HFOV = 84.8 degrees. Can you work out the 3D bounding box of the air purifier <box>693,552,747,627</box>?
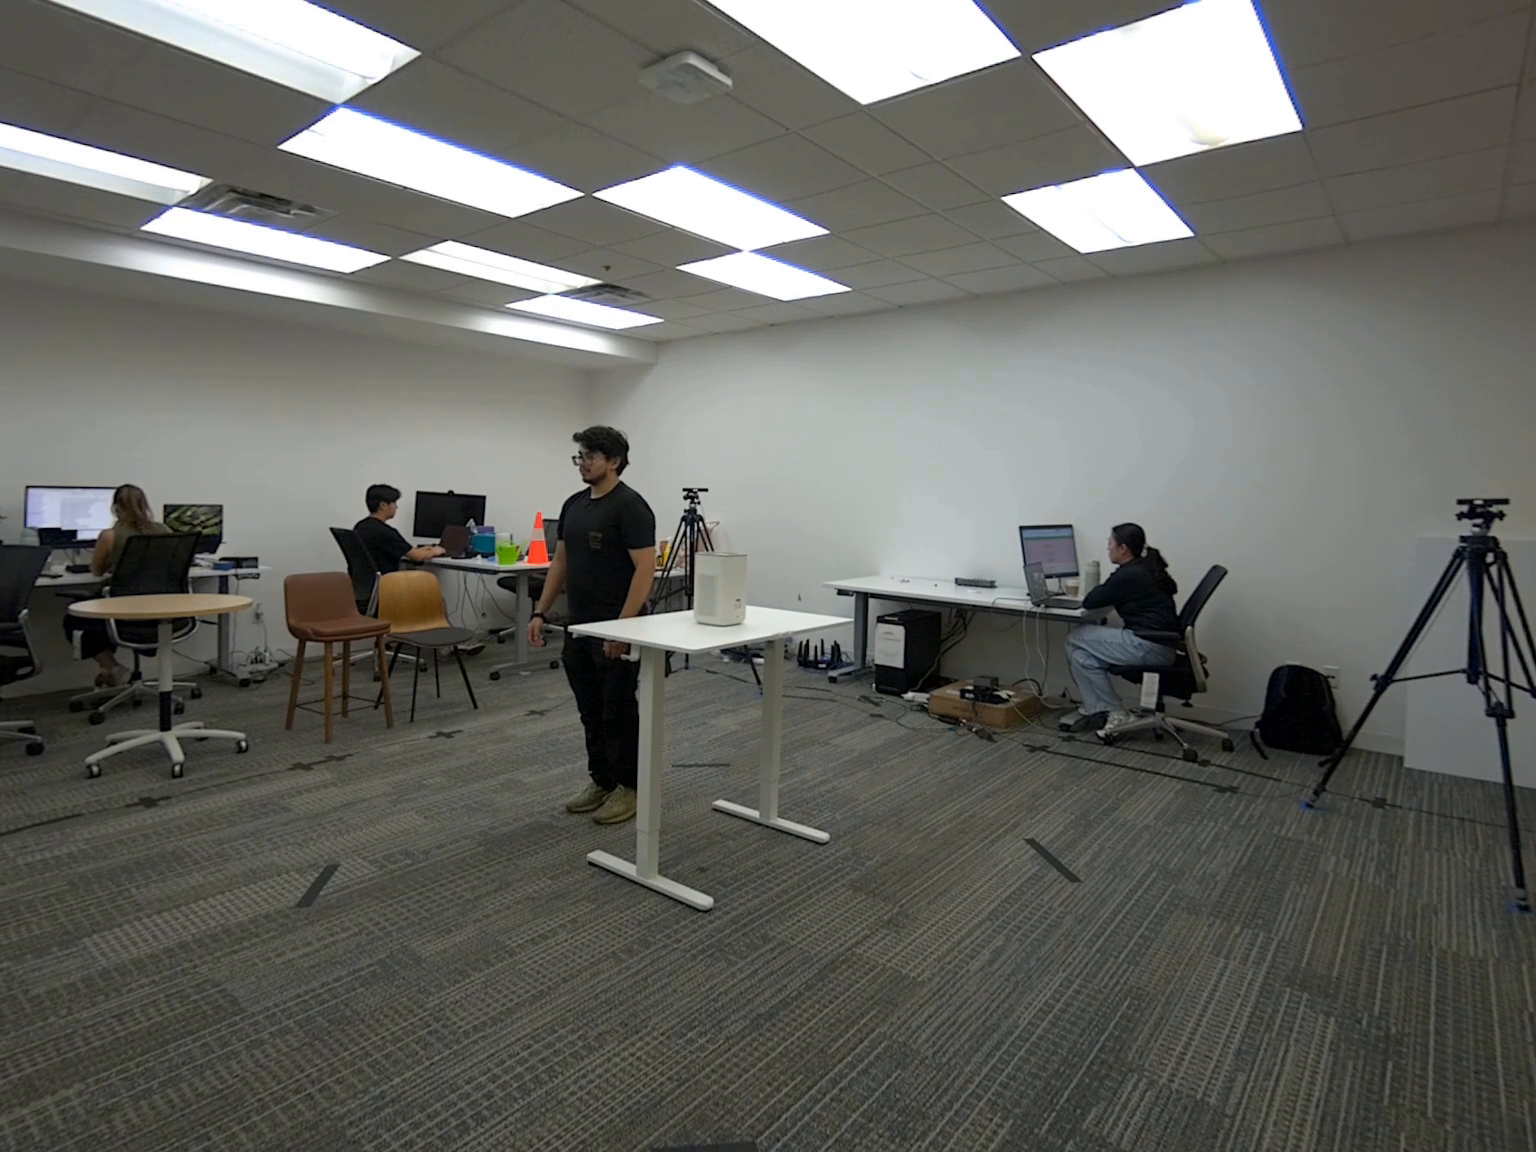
[{"bbox_3d":[-0.191,0.046,3.215,0.177,0.264,0.166,5,5,38],"label":"air purifier"}]
